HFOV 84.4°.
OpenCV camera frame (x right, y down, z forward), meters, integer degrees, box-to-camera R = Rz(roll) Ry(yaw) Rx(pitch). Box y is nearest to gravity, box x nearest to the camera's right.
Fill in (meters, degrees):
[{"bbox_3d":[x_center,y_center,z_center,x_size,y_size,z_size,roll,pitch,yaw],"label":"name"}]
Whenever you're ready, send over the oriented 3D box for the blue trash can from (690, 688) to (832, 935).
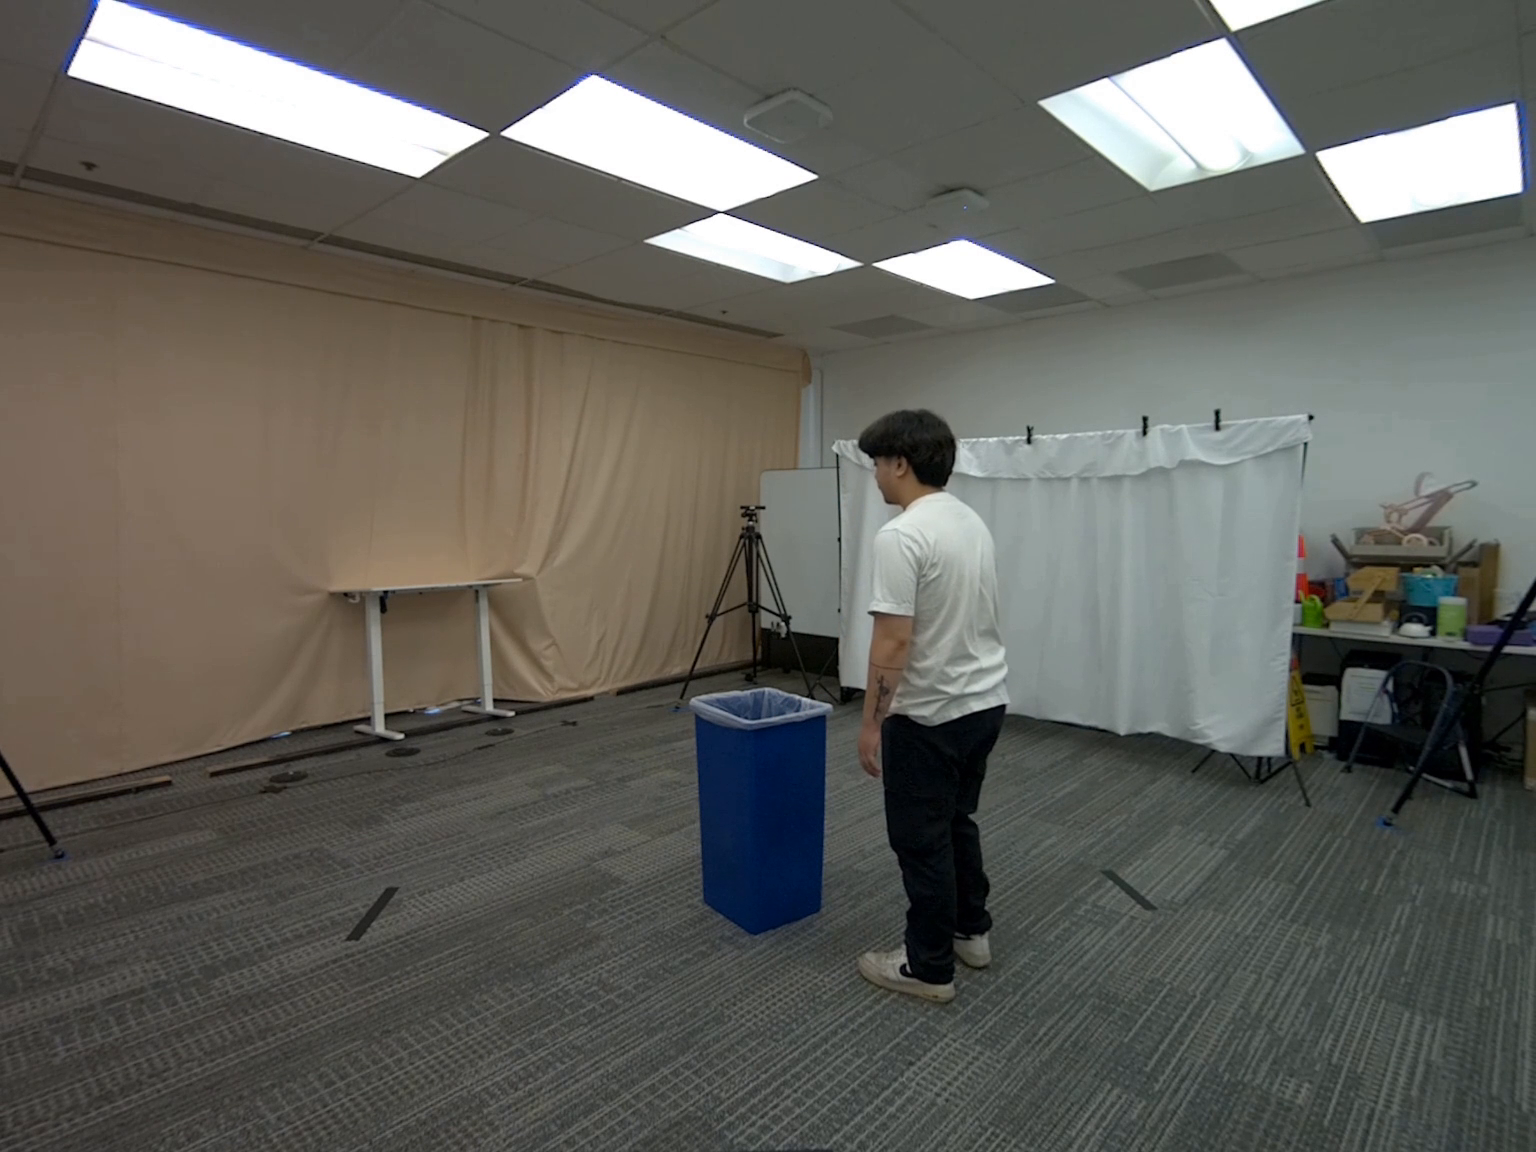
[{"bbox_3d":[-0.025,0.792,2.907,0.363,0.712,0.390,-2,4,-37],"label":"blue trash can"}]
